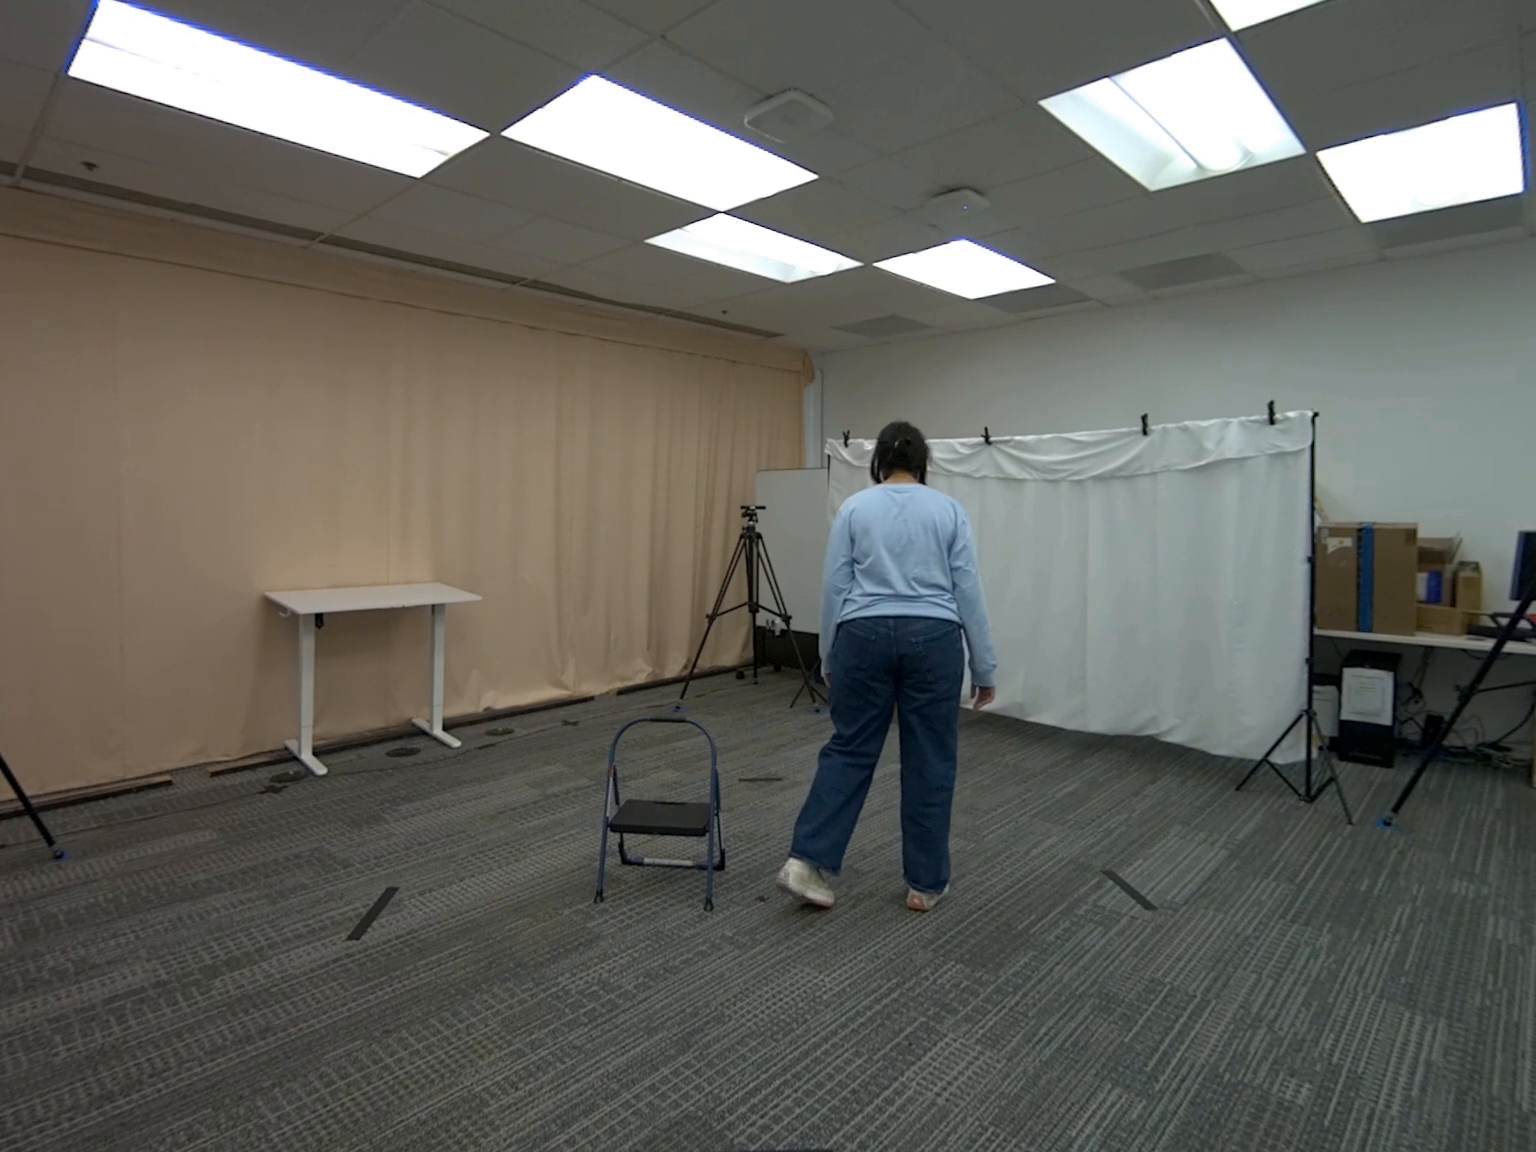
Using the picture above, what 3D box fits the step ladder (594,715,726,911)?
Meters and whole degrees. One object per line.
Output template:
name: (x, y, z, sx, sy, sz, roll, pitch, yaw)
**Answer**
step ladder: (-0.388, 0.835, 3.092, 0.435, 0.605, 0.347, 0, 4, 8)
